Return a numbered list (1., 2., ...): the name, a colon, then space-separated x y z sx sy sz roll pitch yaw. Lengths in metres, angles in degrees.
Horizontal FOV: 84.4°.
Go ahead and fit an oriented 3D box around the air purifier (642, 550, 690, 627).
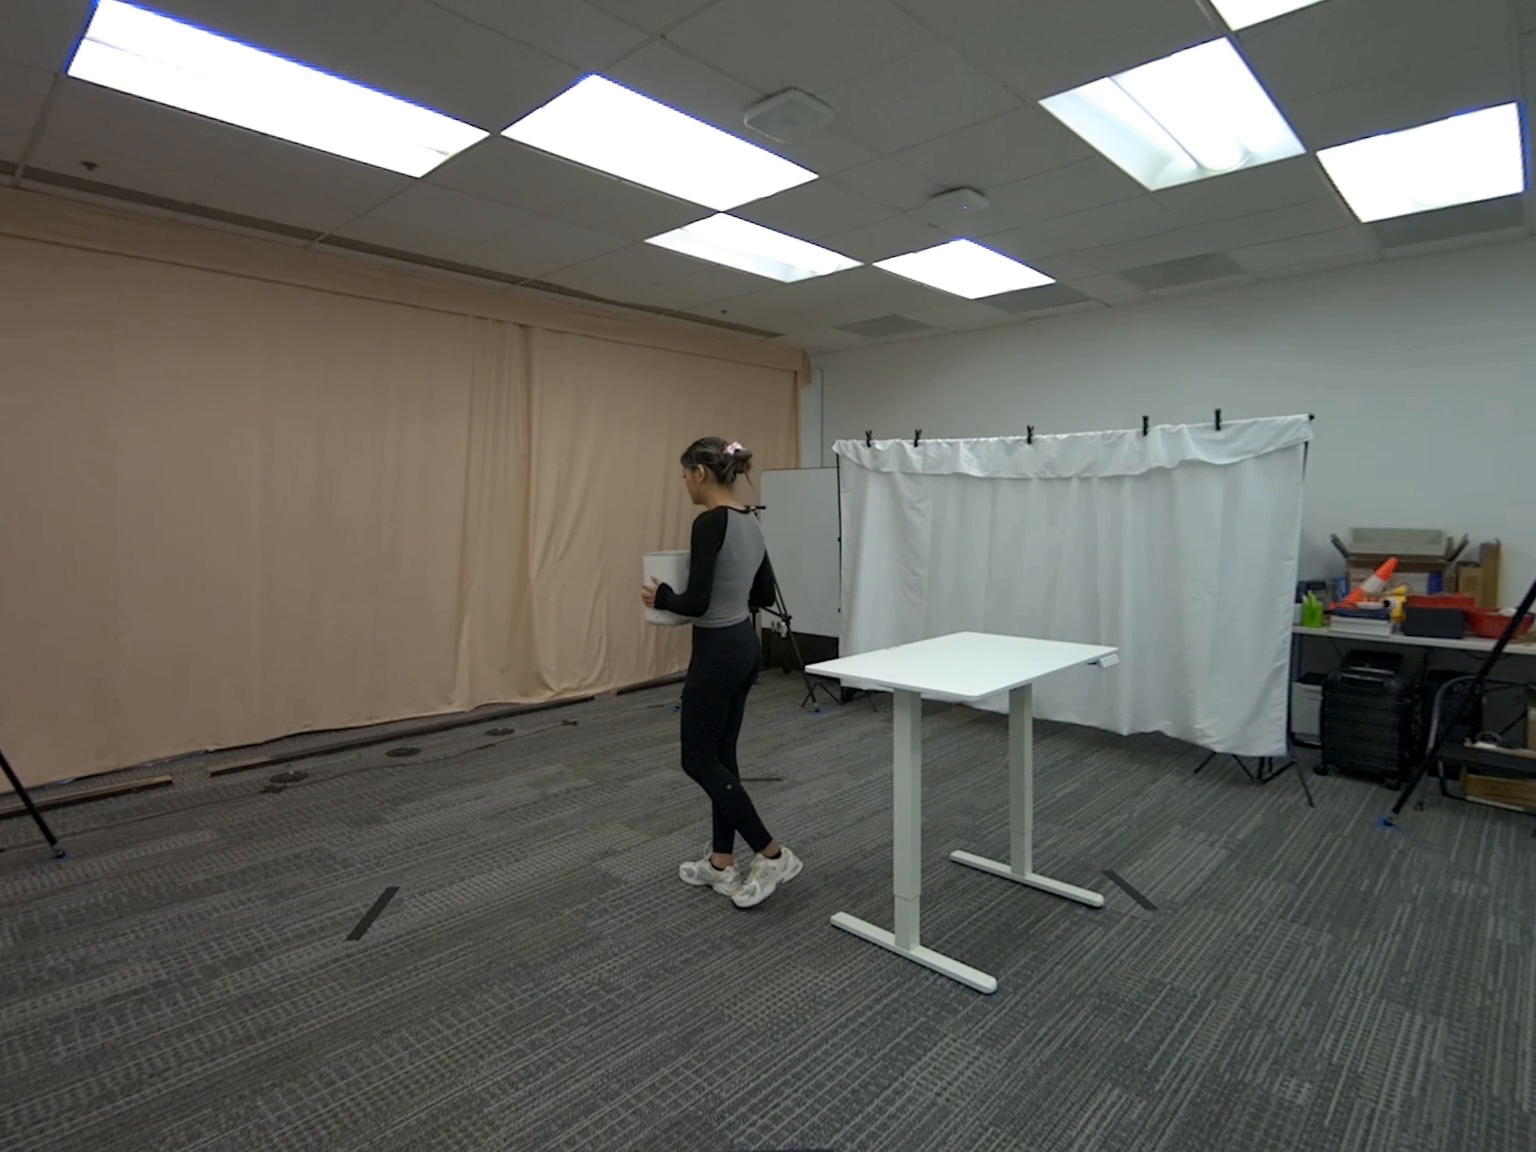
1. air purifier: -0.349 0.046 3.120 0.176 0.264 0.167 1 5 29
